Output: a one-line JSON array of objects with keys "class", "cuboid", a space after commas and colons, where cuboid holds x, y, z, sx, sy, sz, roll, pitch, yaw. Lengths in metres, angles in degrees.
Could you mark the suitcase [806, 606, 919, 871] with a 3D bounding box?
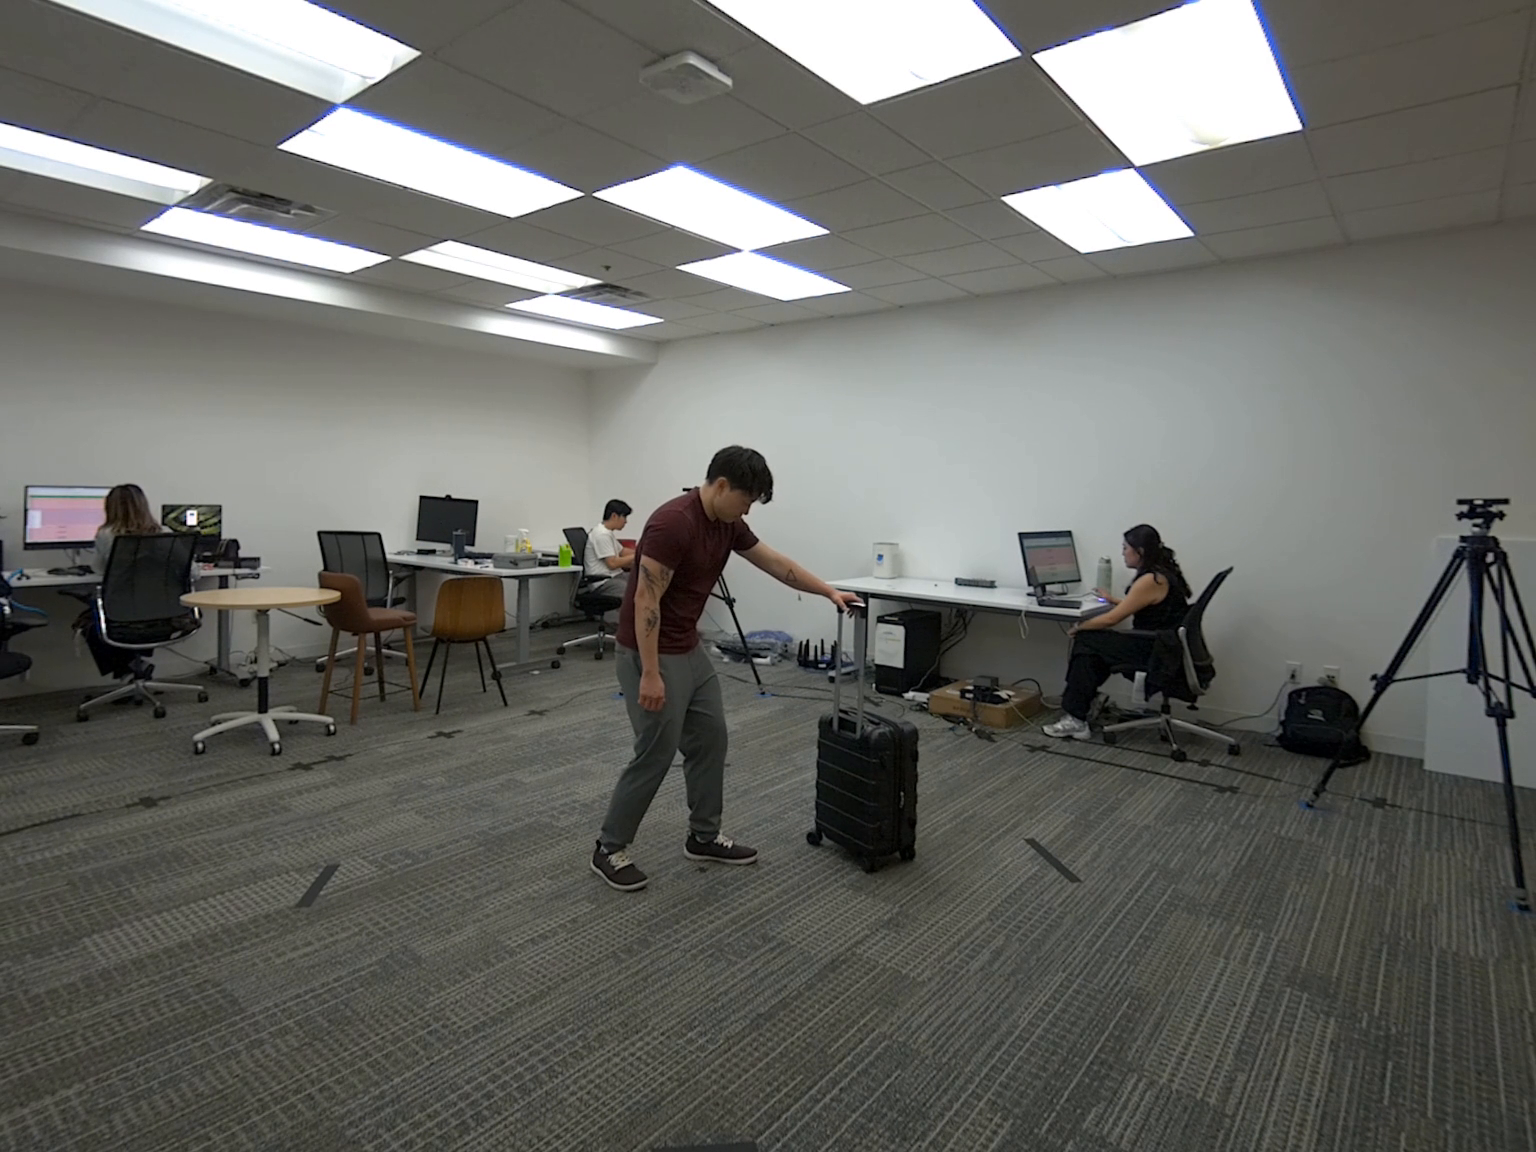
[{"class": "suitcase", "cuboid": [0.386, 0.595, 3.264, 0.249, 0.976, 0.397, 3, 4, -35]}]
